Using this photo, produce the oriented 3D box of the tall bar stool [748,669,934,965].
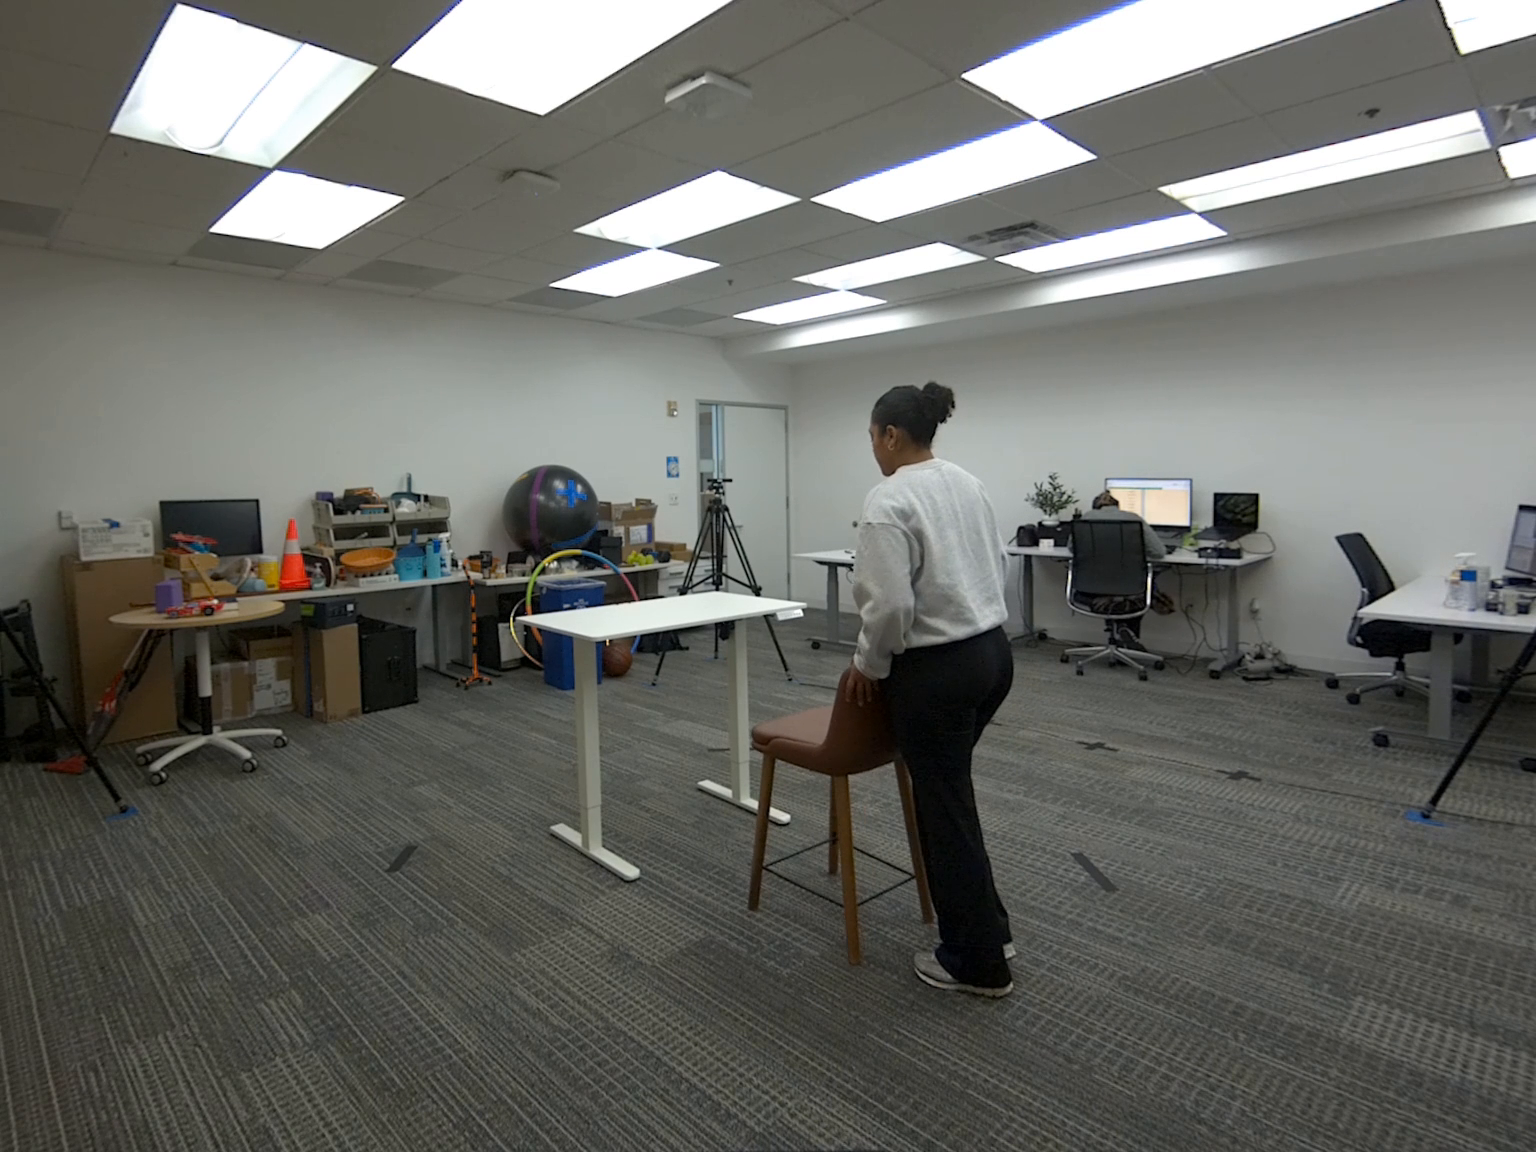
[{"bbox_3d":[0.231,0.647,2.705,0.444,0.885,0.483,-5,8,-41],"label":"tall bar stool"}]
